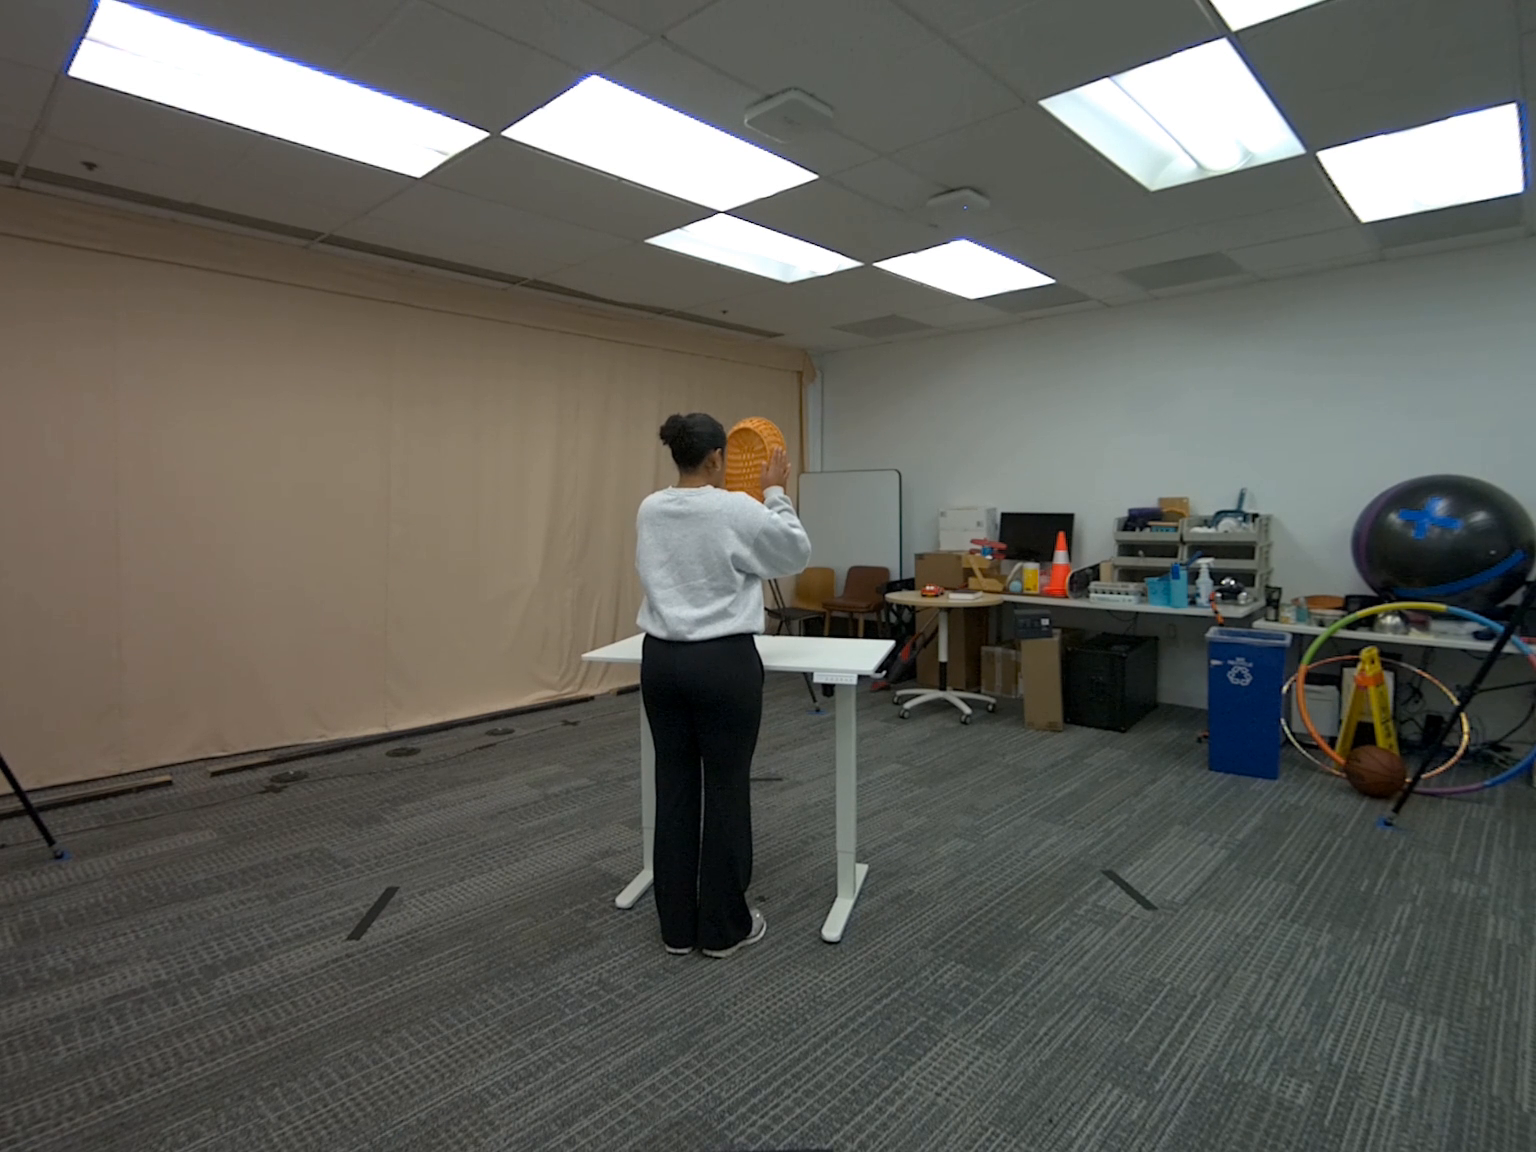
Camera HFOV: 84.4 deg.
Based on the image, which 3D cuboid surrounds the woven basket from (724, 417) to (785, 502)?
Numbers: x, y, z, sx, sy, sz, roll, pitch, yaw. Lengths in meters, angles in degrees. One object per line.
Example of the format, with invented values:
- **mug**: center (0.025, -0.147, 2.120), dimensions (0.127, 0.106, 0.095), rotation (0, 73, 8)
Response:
- **woven basket**: center (-0.056, -0.355, 2.850), dimensions (0.259, 0.351, 0.071), rotation (-10, -1, 30)
